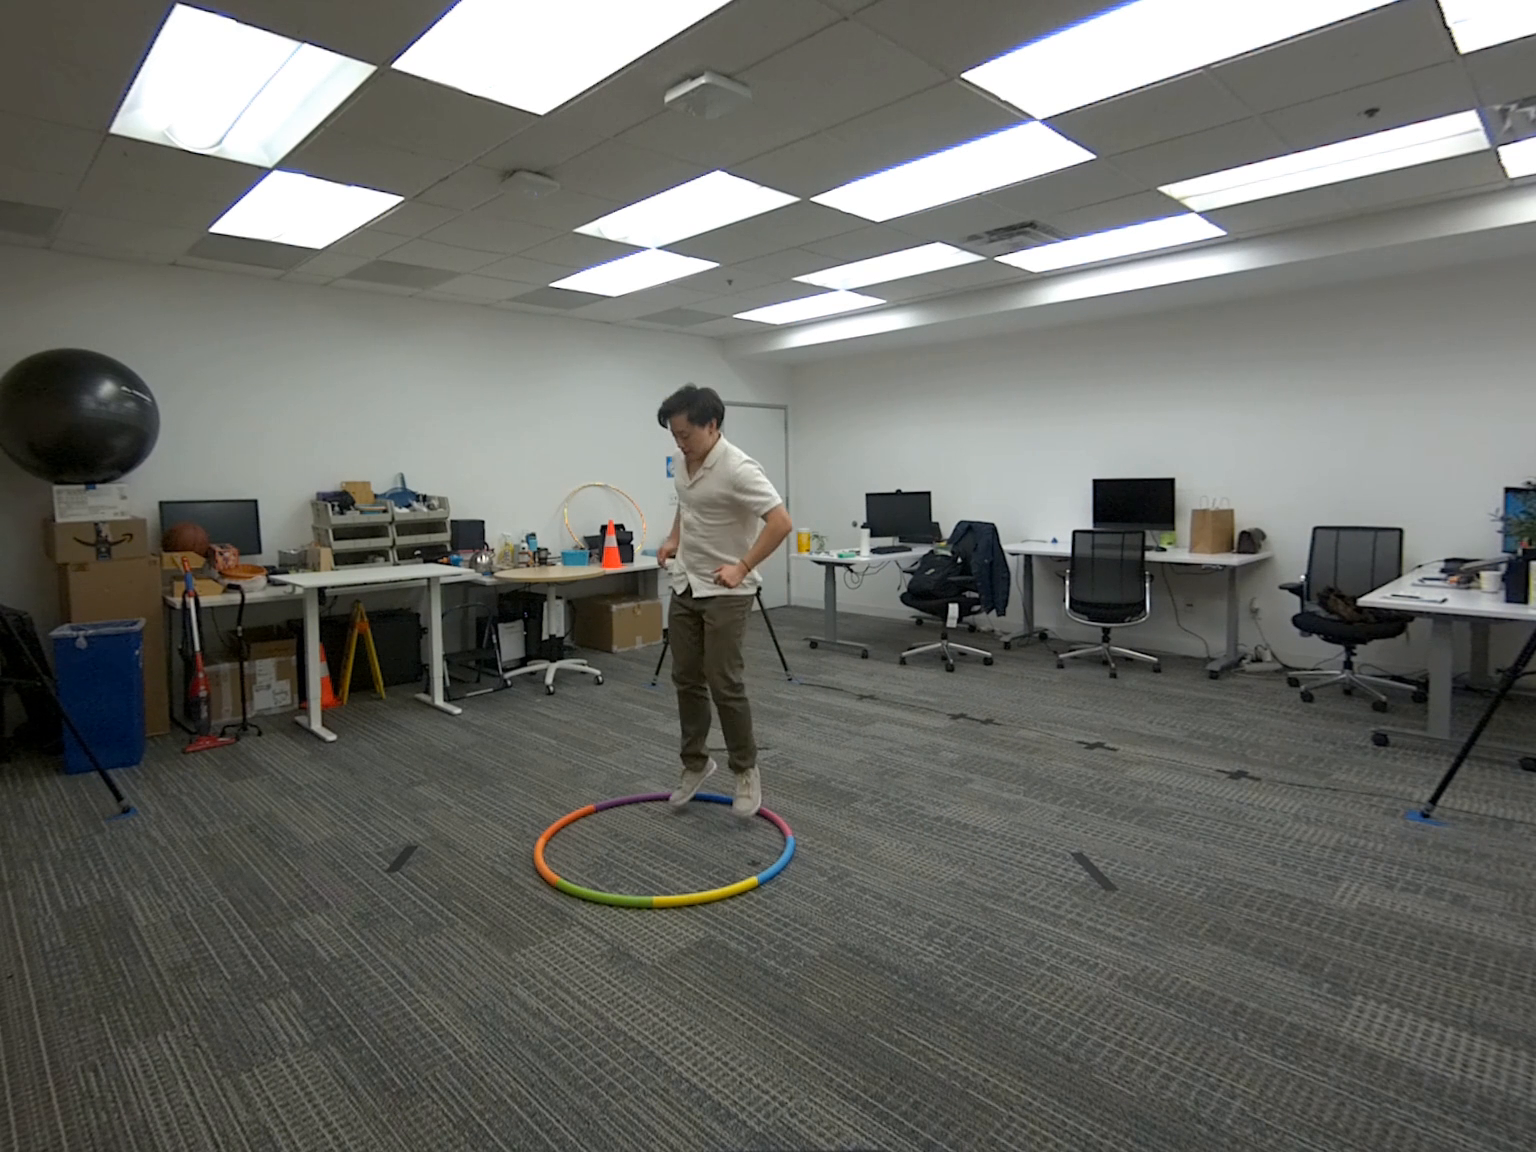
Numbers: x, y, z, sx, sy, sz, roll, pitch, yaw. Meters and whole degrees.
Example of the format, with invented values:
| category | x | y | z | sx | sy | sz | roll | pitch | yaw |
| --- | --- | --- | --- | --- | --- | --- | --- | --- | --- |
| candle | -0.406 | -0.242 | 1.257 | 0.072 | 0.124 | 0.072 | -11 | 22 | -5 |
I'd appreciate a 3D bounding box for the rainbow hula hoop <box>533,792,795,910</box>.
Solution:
| category | x | y | z | sx | sy | sz | roll | pitch | yaw |
| --- | --- | --- | --- | --- | --- | --- | --- | --- | --- |
| rainbow hula hoop | -0.387 | 1.001 | 3.272 | 0.978 | 0.035 | 0.984 | -1 | 6 | -2 |
